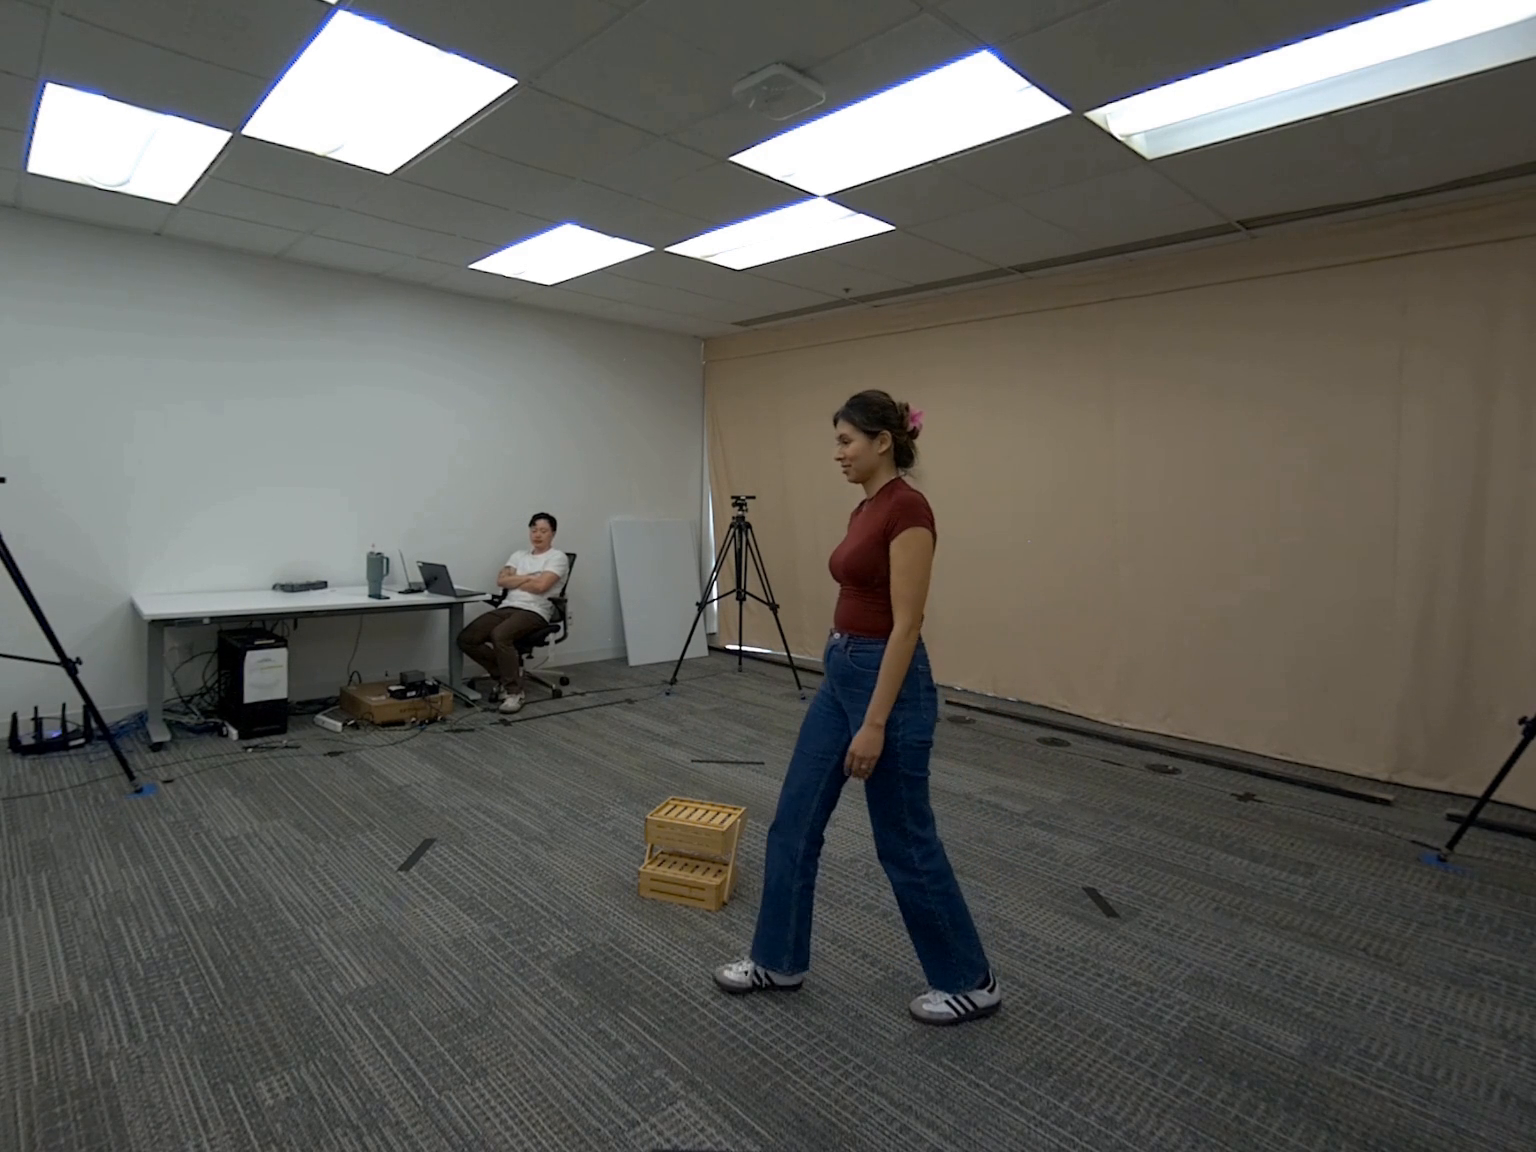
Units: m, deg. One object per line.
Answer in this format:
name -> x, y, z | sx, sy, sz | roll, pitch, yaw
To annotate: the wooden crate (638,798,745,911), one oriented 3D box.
wooden crate -> -0.272, 0.982, 3.004 | 0.329, 0.272, 0.298 | 3, 4, 19
